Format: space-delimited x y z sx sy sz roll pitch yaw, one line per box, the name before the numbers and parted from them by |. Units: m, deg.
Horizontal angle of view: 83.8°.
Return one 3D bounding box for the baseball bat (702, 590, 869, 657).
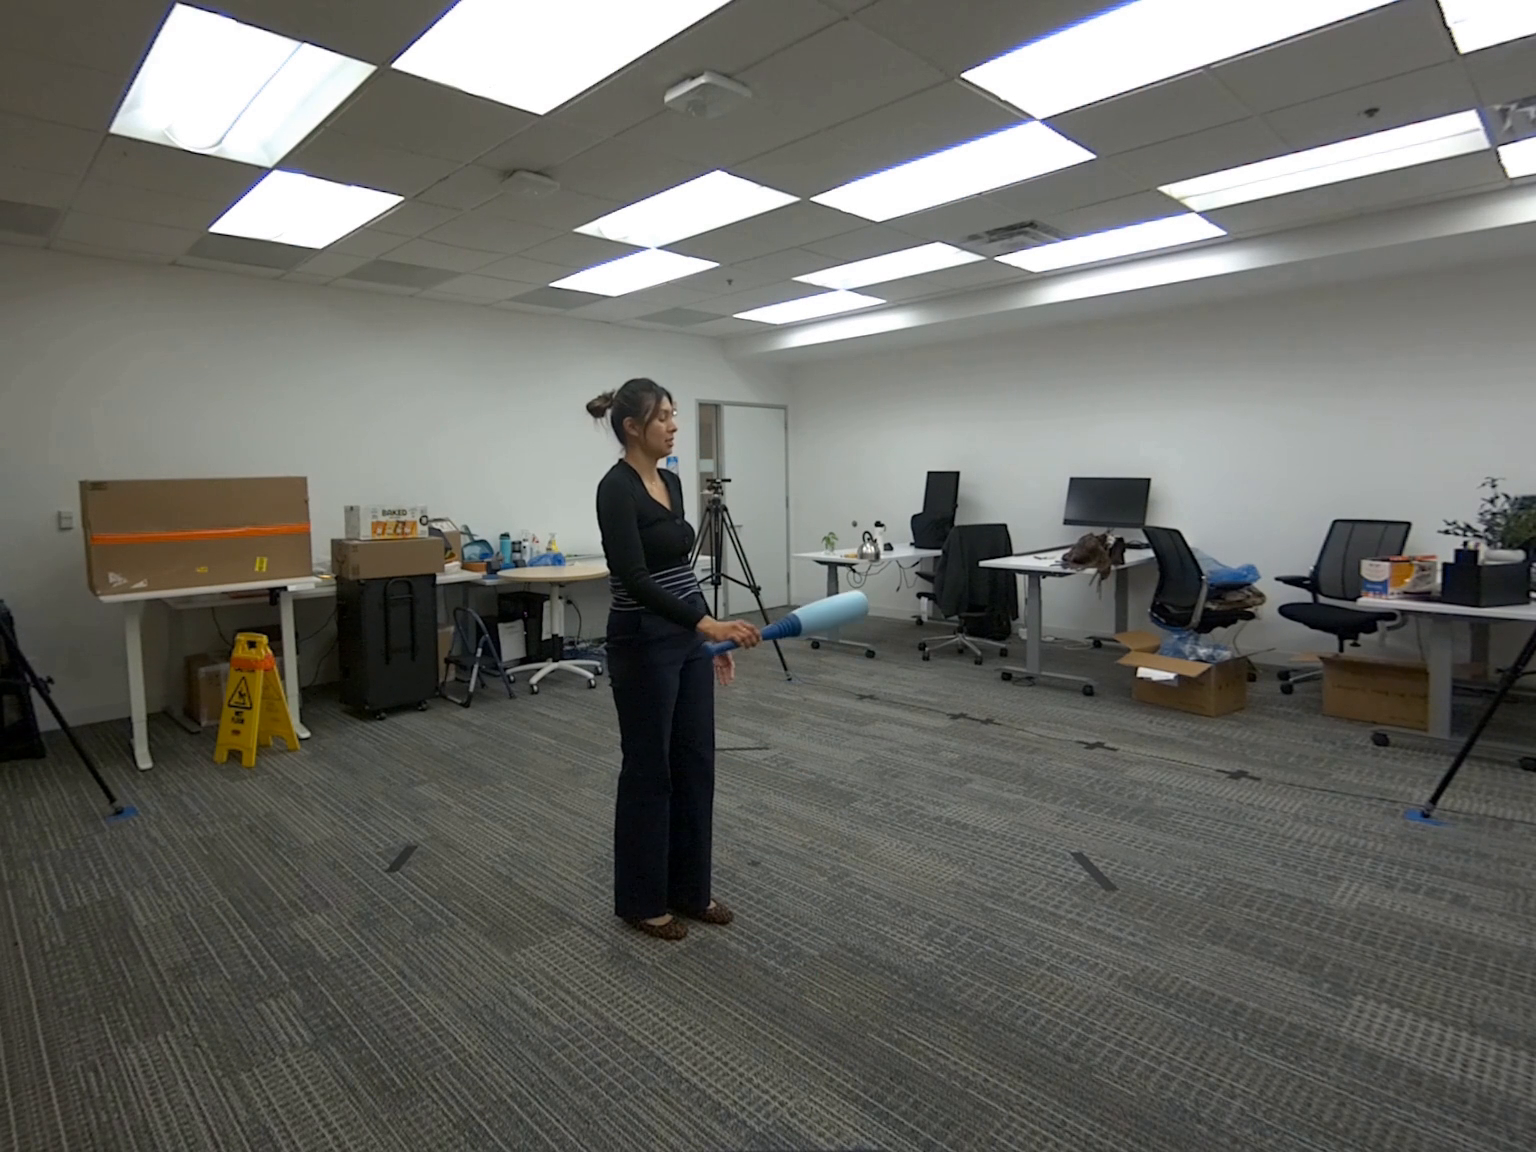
baseball bat | 0.053 0.142 2.327 0.533 0.088 0.091 -13 10 -26
